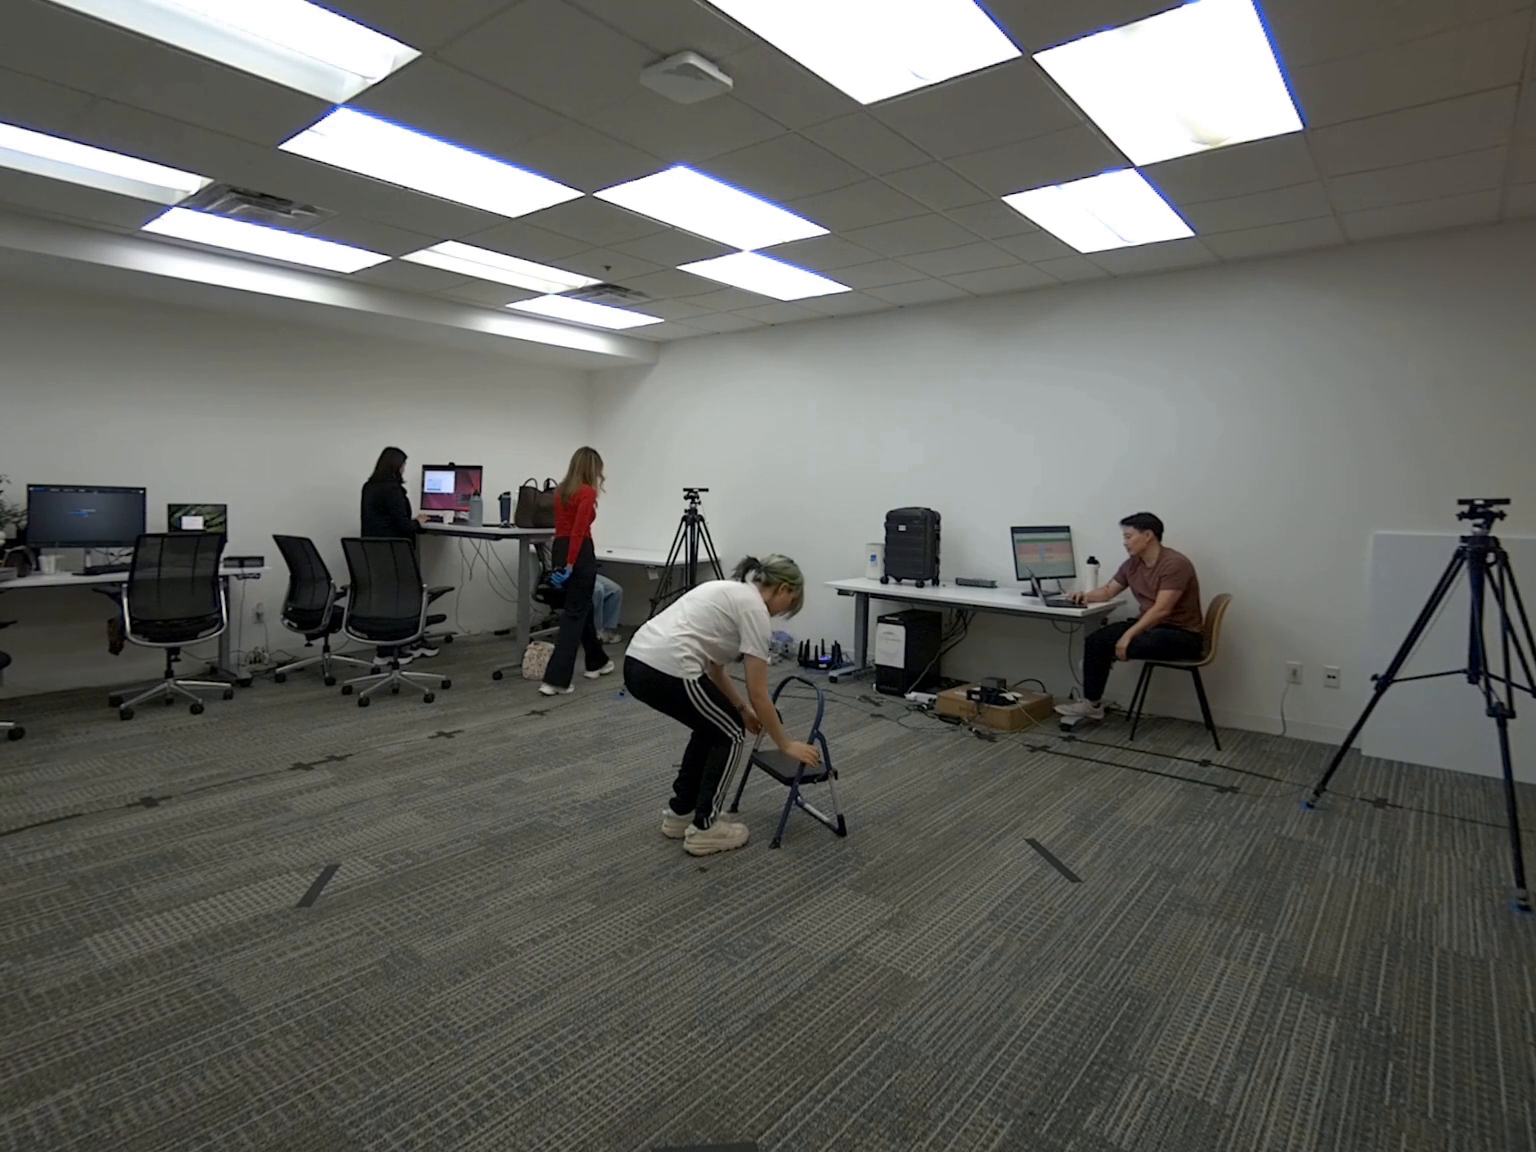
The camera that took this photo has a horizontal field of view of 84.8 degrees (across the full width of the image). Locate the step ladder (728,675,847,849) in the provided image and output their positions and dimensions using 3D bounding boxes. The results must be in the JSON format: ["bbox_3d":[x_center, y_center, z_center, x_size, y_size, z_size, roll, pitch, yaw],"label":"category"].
[{"bbox_3d":[0.077,0.733,3.544,0.341,0.604,0.443,0,4,-26],"label":"step ladder"}]
